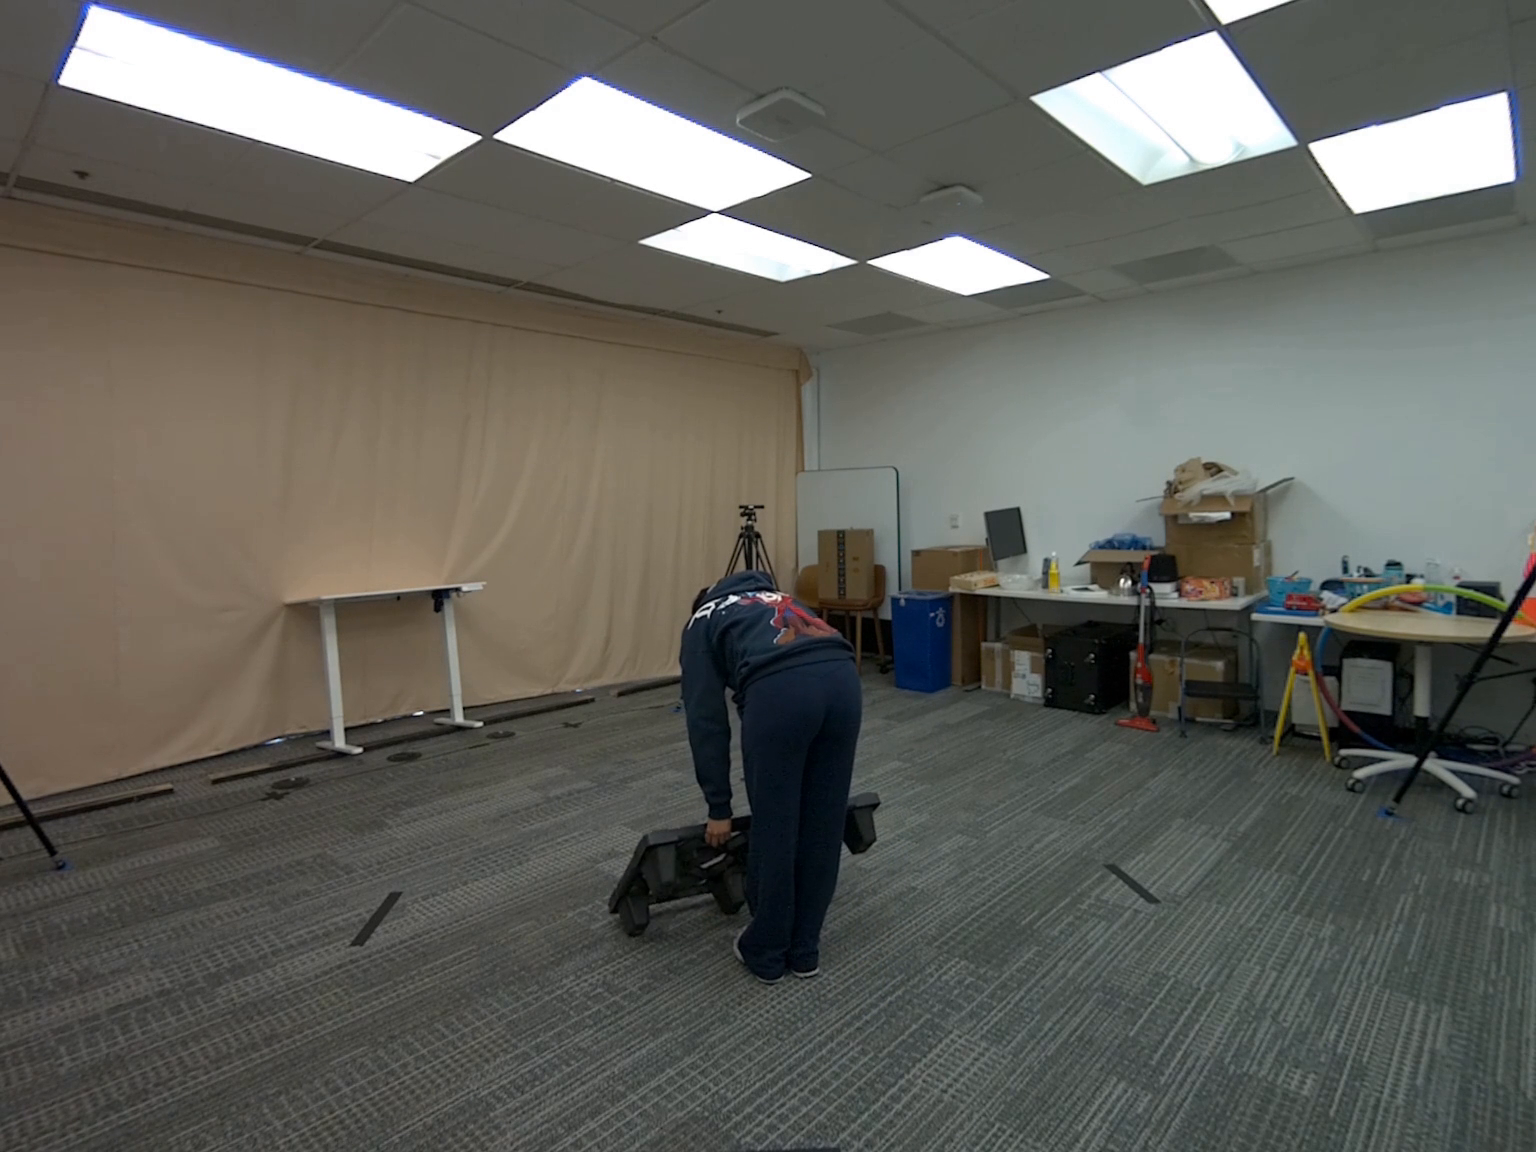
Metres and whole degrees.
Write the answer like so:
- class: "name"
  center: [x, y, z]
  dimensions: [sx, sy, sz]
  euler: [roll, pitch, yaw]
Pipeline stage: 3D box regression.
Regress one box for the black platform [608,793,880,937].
- class: "black platform"
  center: [-0.072, 0.958, 2.745]
  dimensions: [0.788, 0.147, 0.602]
  euler: [-3, -39, -23]
